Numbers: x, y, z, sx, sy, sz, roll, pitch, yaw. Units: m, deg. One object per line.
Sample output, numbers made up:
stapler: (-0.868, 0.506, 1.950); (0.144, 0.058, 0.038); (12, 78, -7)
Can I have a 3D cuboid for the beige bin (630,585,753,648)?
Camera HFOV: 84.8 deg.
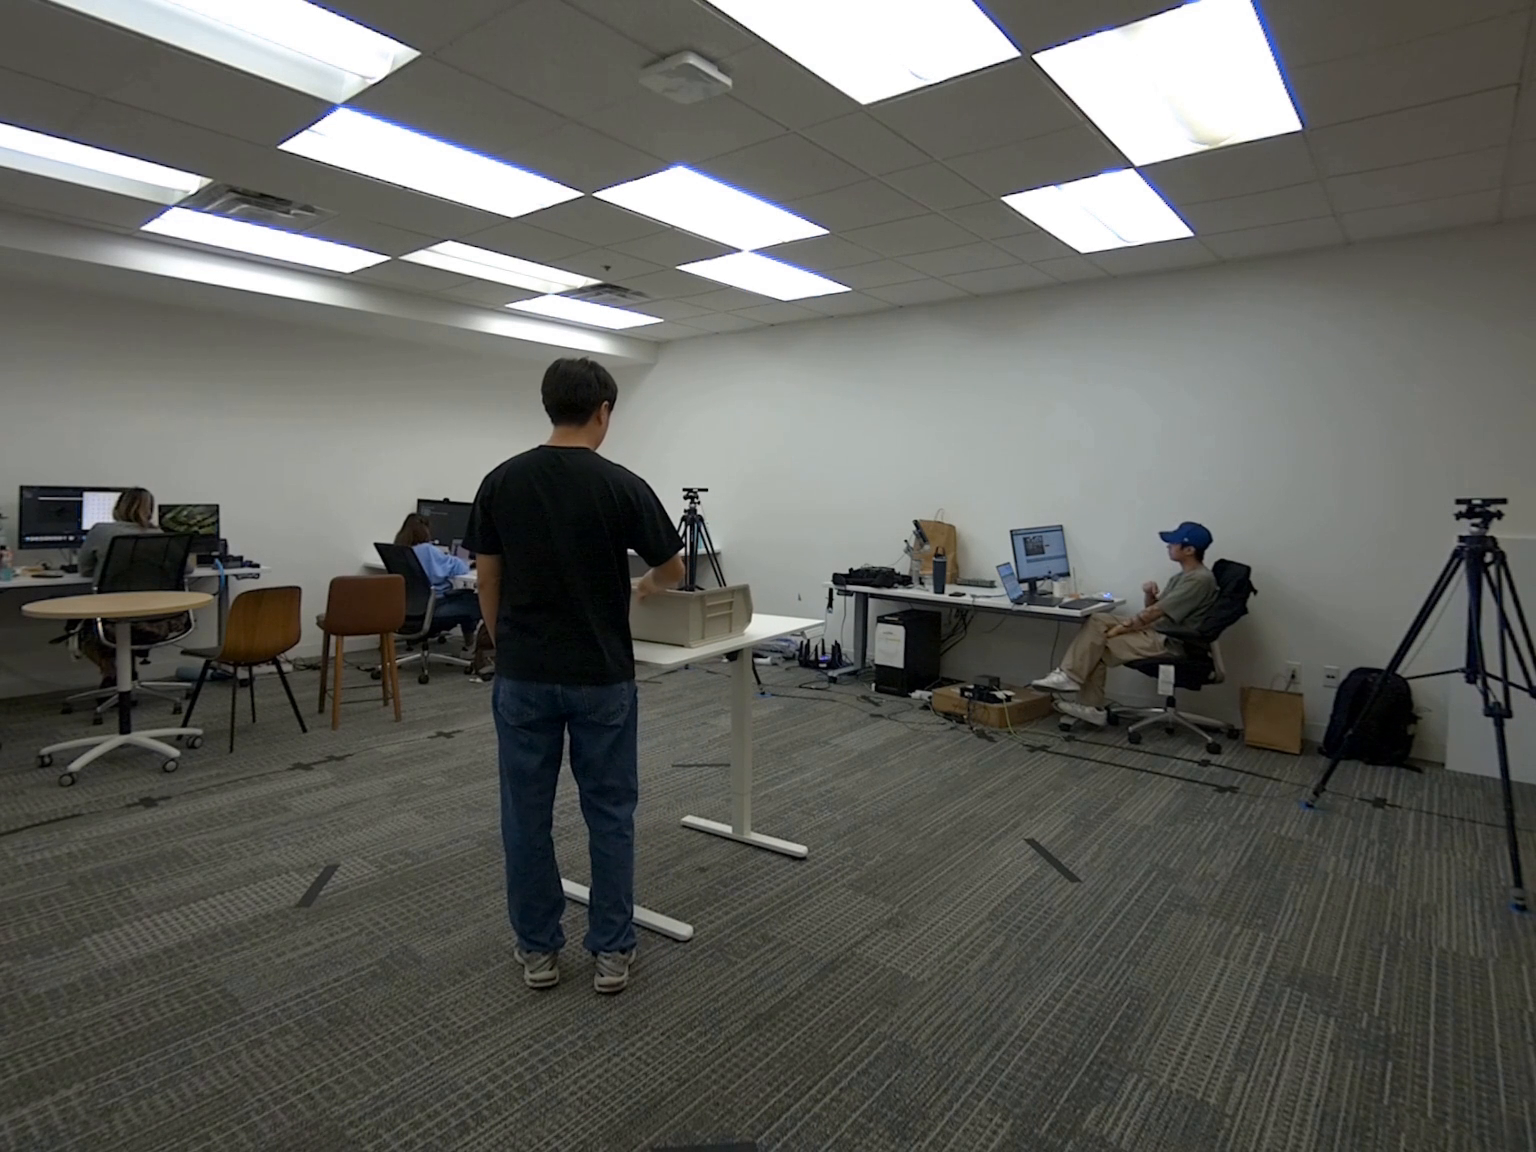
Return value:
beige bin: (-0.337, 0.114, 2.941); (0.435, 0.188, 0.368); (4, 7, 32)
